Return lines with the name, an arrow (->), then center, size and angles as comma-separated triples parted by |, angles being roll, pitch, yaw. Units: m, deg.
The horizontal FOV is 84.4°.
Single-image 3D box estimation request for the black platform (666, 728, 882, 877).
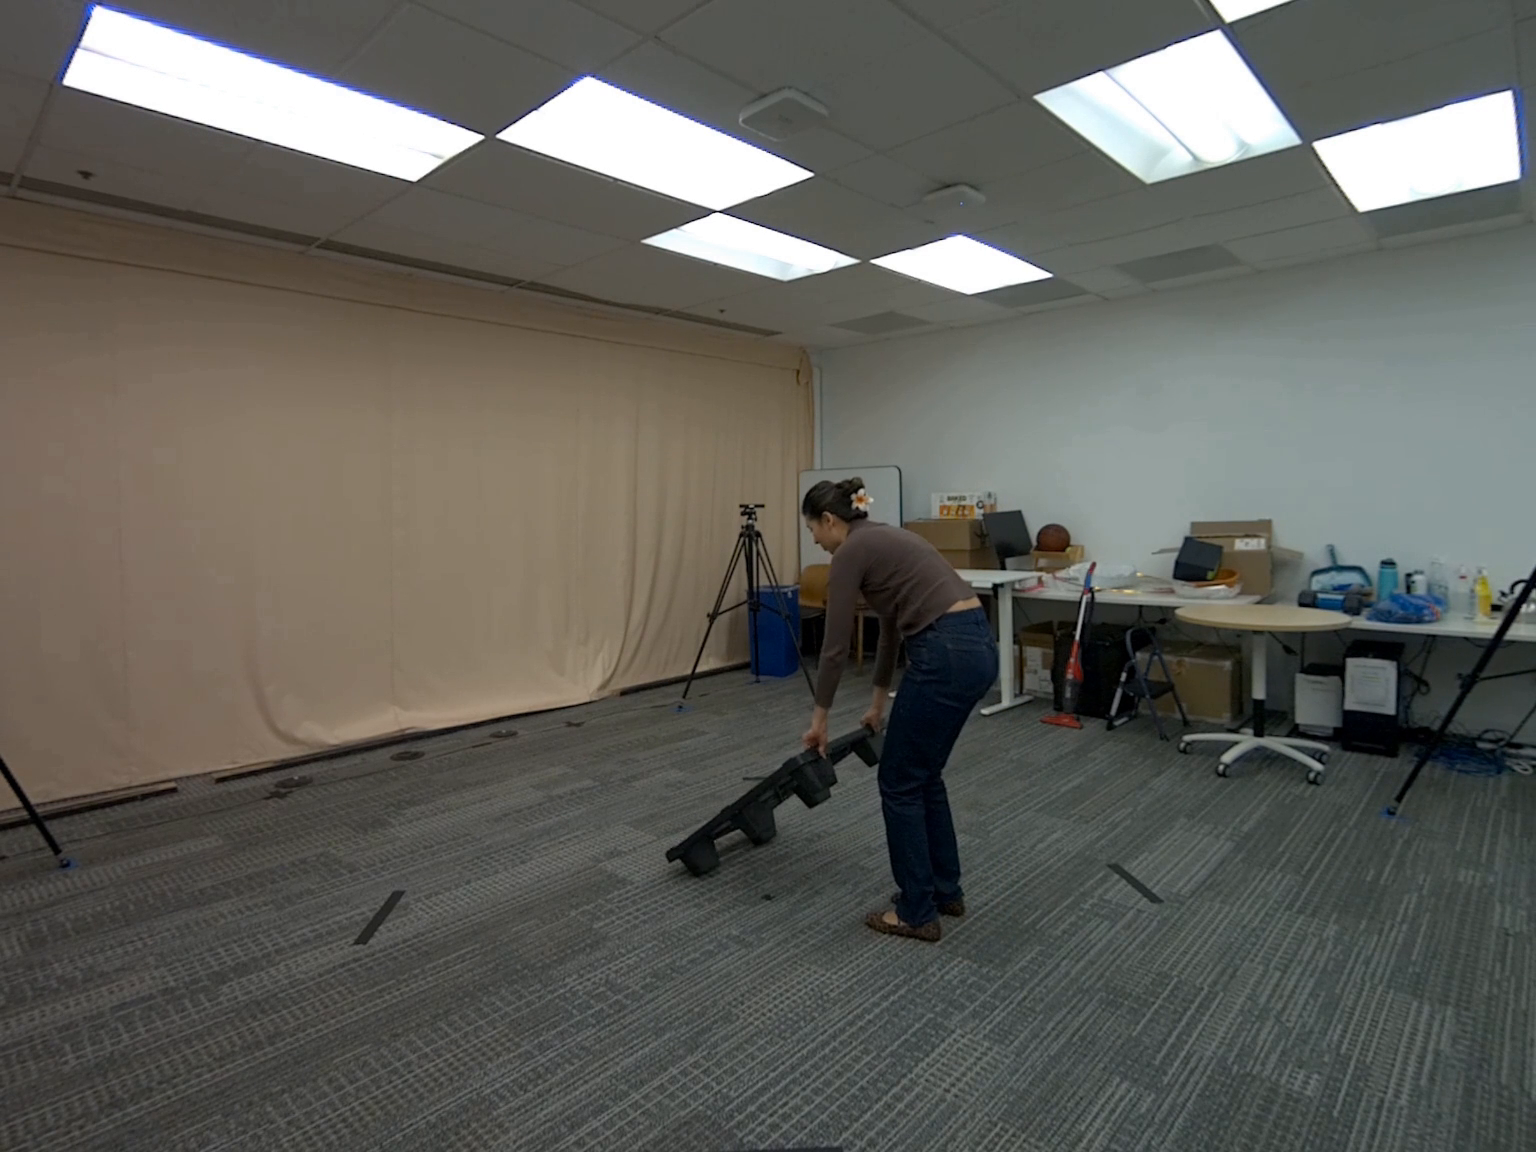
black platform -> 0.059, 0.842, 3.152 | 0.588, 0.146, 0.812 | -8, -30, -52
